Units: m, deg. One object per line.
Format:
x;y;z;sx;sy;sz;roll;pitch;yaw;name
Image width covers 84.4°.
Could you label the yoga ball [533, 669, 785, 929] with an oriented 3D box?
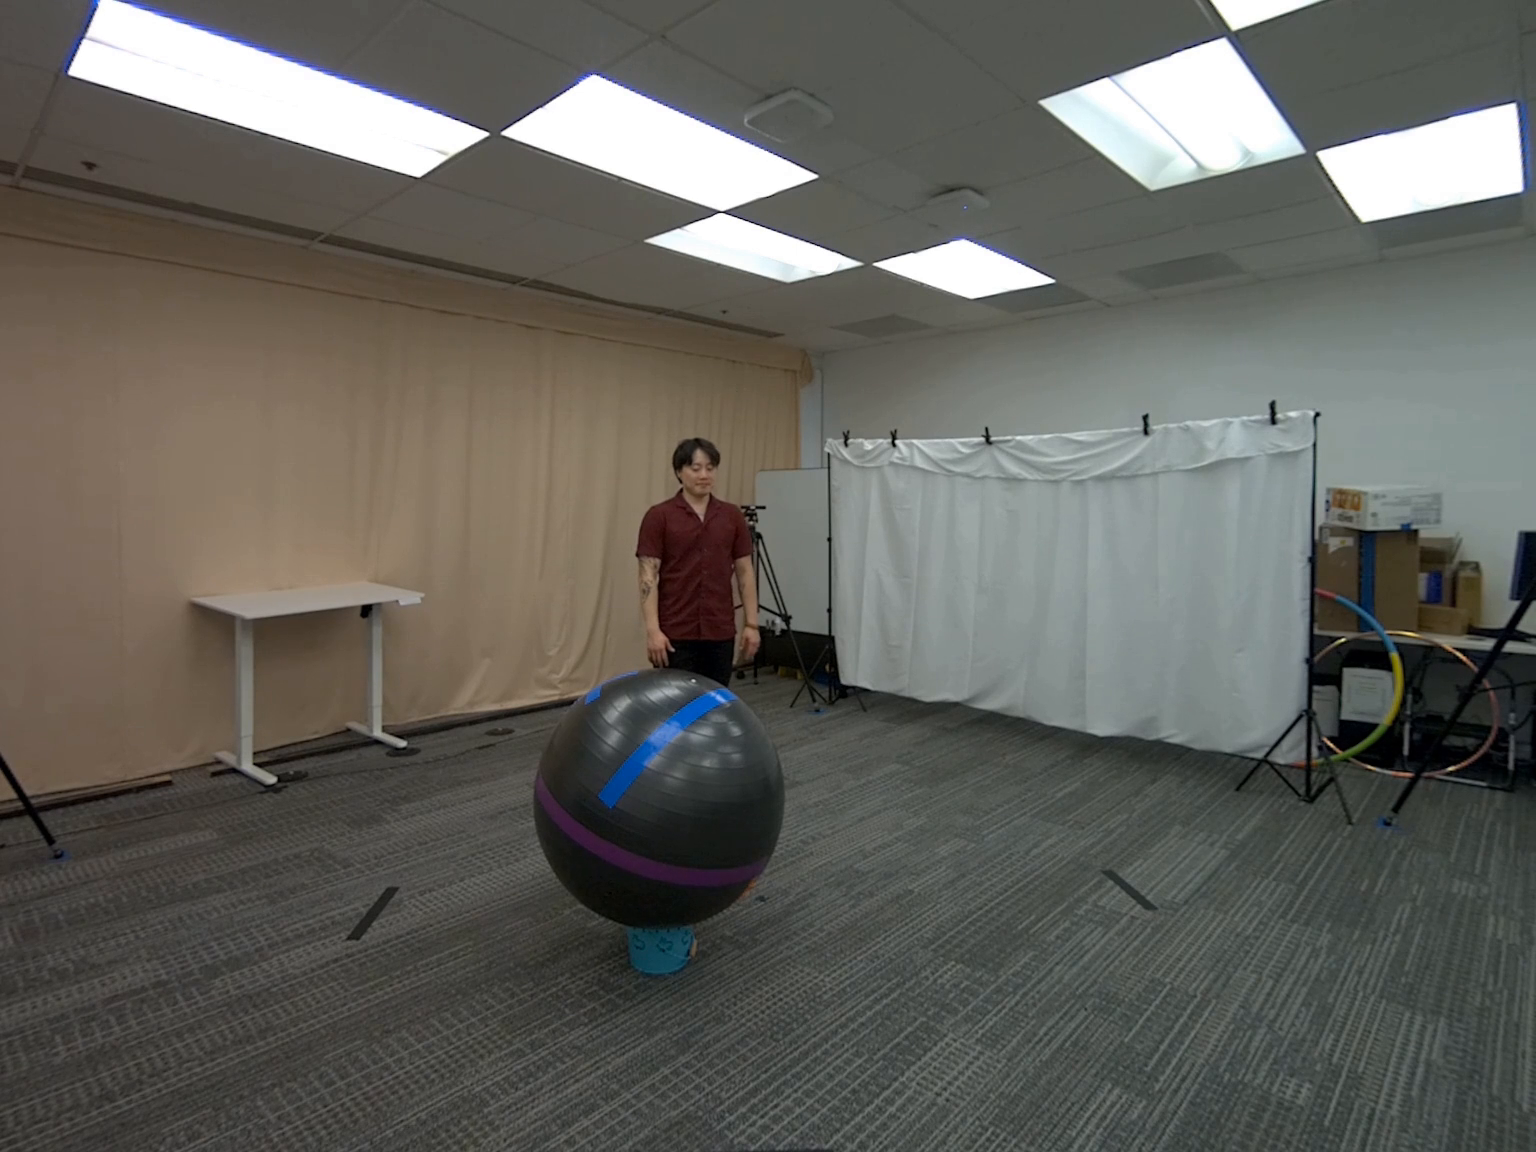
-0.327;0.666;2.574;0.757;0.756;0.760;0;4;-2;yoga ball
